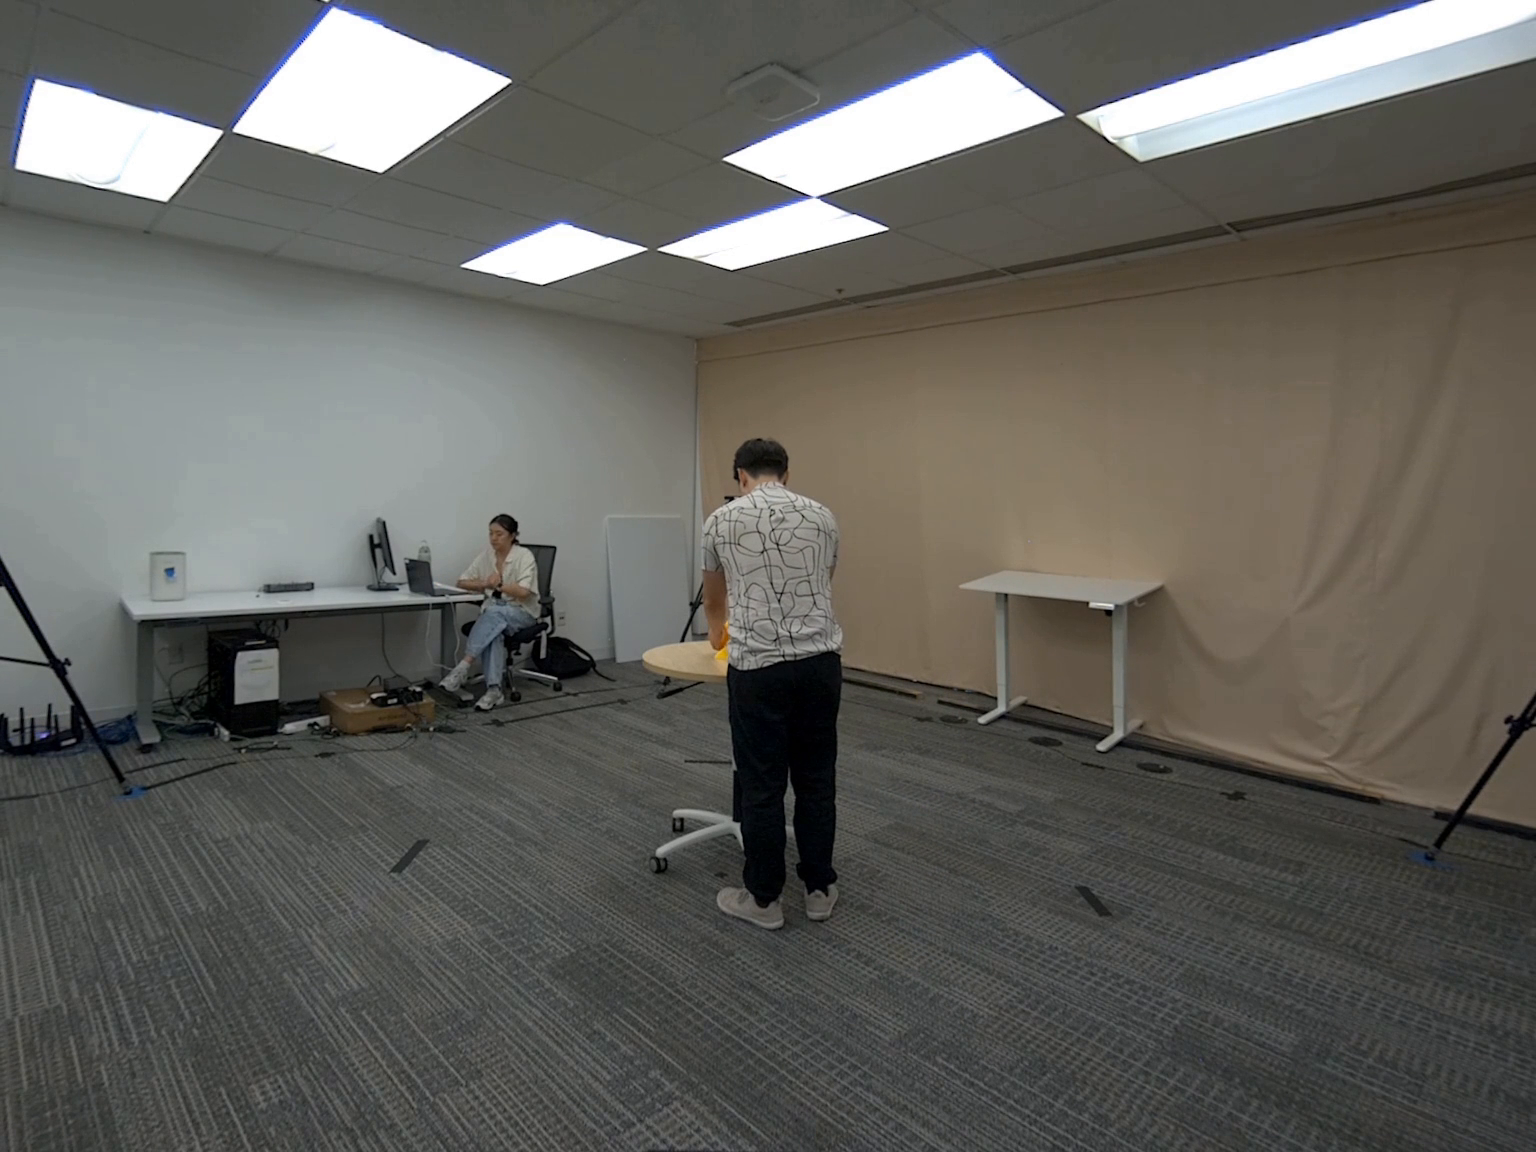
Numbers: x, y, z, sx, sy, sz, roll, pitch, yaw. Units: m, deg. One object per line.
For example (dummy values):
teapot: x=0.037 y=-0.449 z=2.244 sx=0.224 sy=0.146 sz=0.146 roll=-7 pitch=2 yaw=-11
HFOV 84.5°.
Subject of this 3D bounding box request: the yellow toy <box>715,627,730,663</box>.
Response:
yellow toy: x=-0.110 y=0.196 z=3.241 sx=0.195 sy=0.230 sz=0.203 roll=2 pitch=3 yaw=12
